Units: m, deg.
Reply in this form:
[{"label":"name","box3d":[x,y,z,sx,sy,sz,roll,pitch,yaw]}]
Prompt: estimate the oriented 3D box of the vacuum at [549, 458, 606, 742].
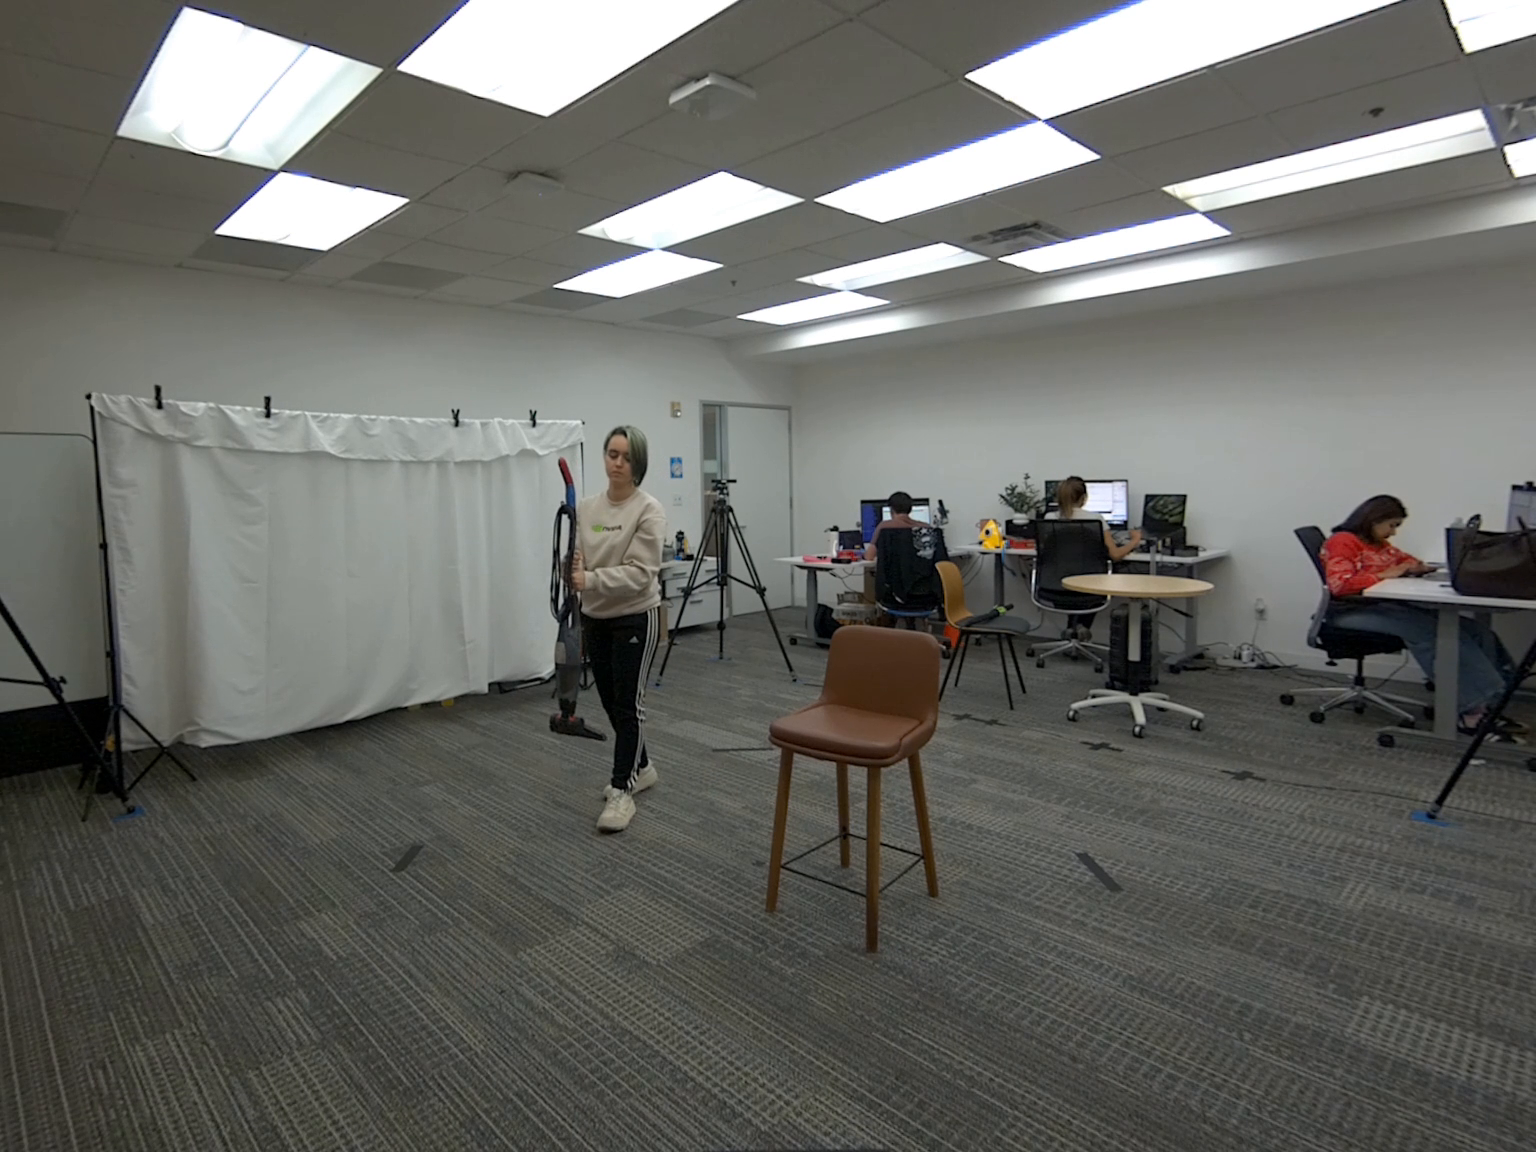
[{"label":"vacuum","box3d":[-0.776,0.081,3.296,0.259,1.043,0.141,2,7,28]}]
